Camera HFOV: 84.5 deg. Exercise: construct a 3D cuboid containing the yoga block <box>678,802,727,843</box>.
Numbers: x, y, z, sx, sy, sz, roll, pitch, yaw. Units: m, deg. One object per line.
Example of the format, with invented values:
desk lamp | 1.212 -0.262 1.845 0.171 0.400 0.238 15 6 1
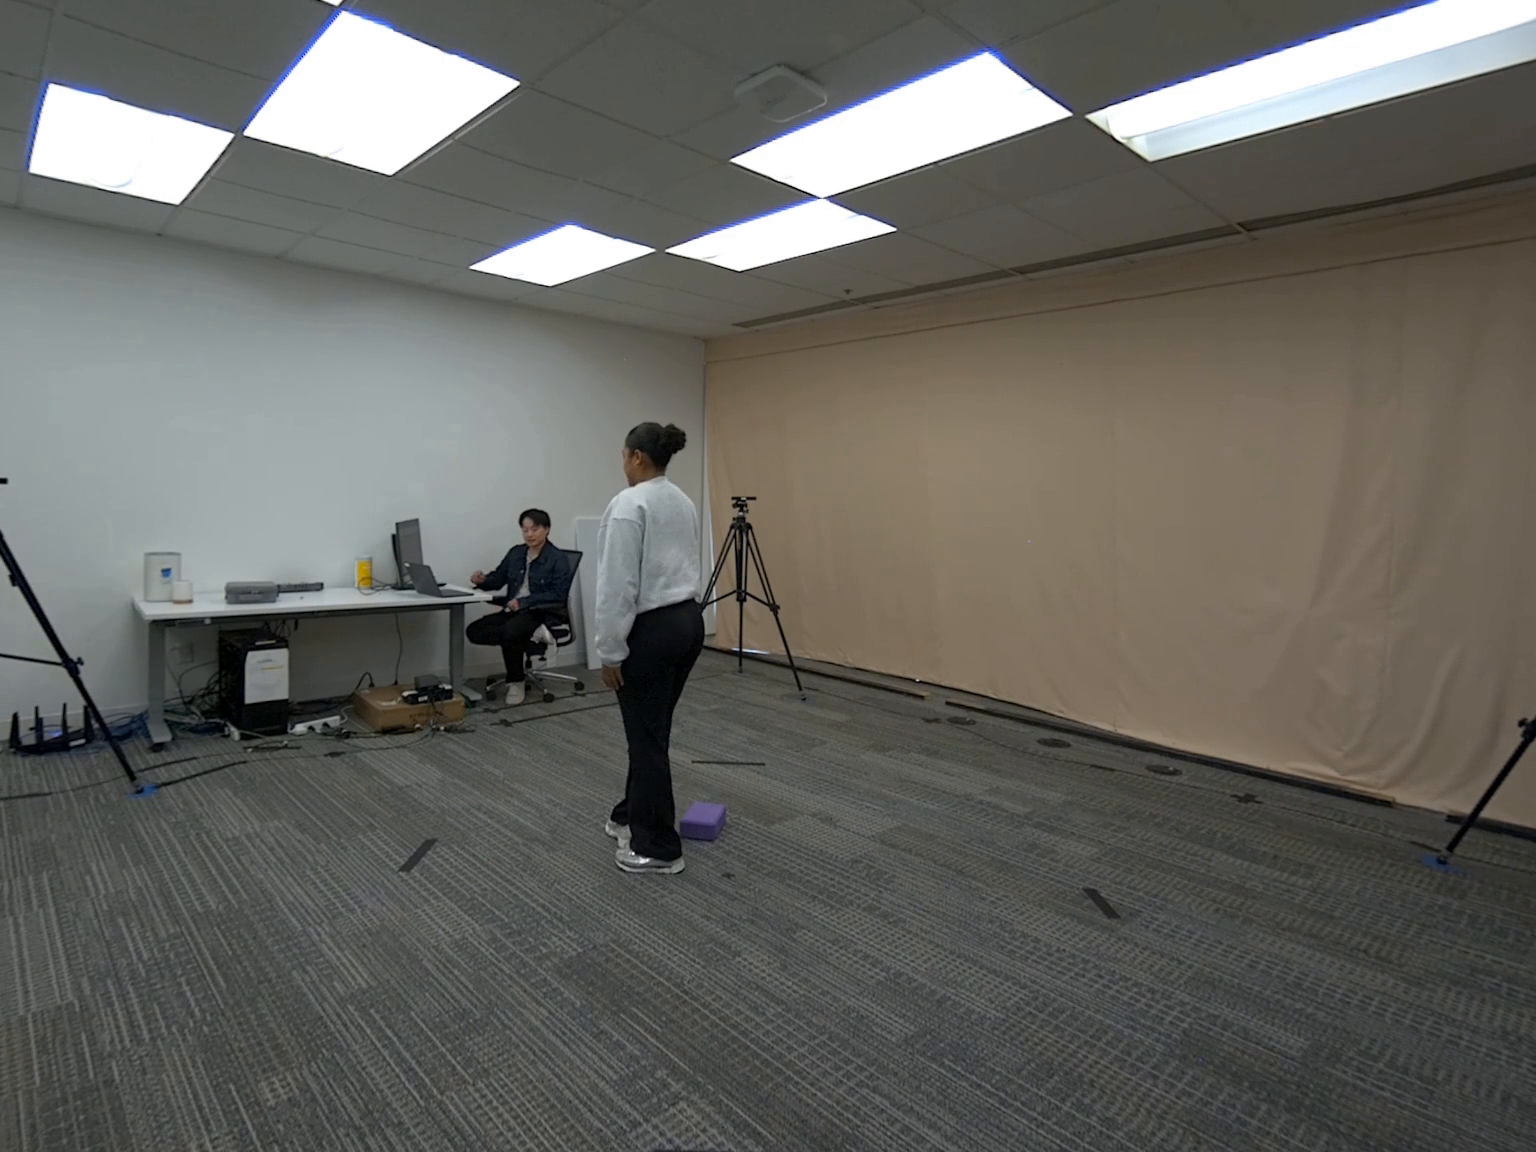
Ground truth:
yoga block | -0.279 1.023 3.529 0.150 0.076 0.227 3 5 11
